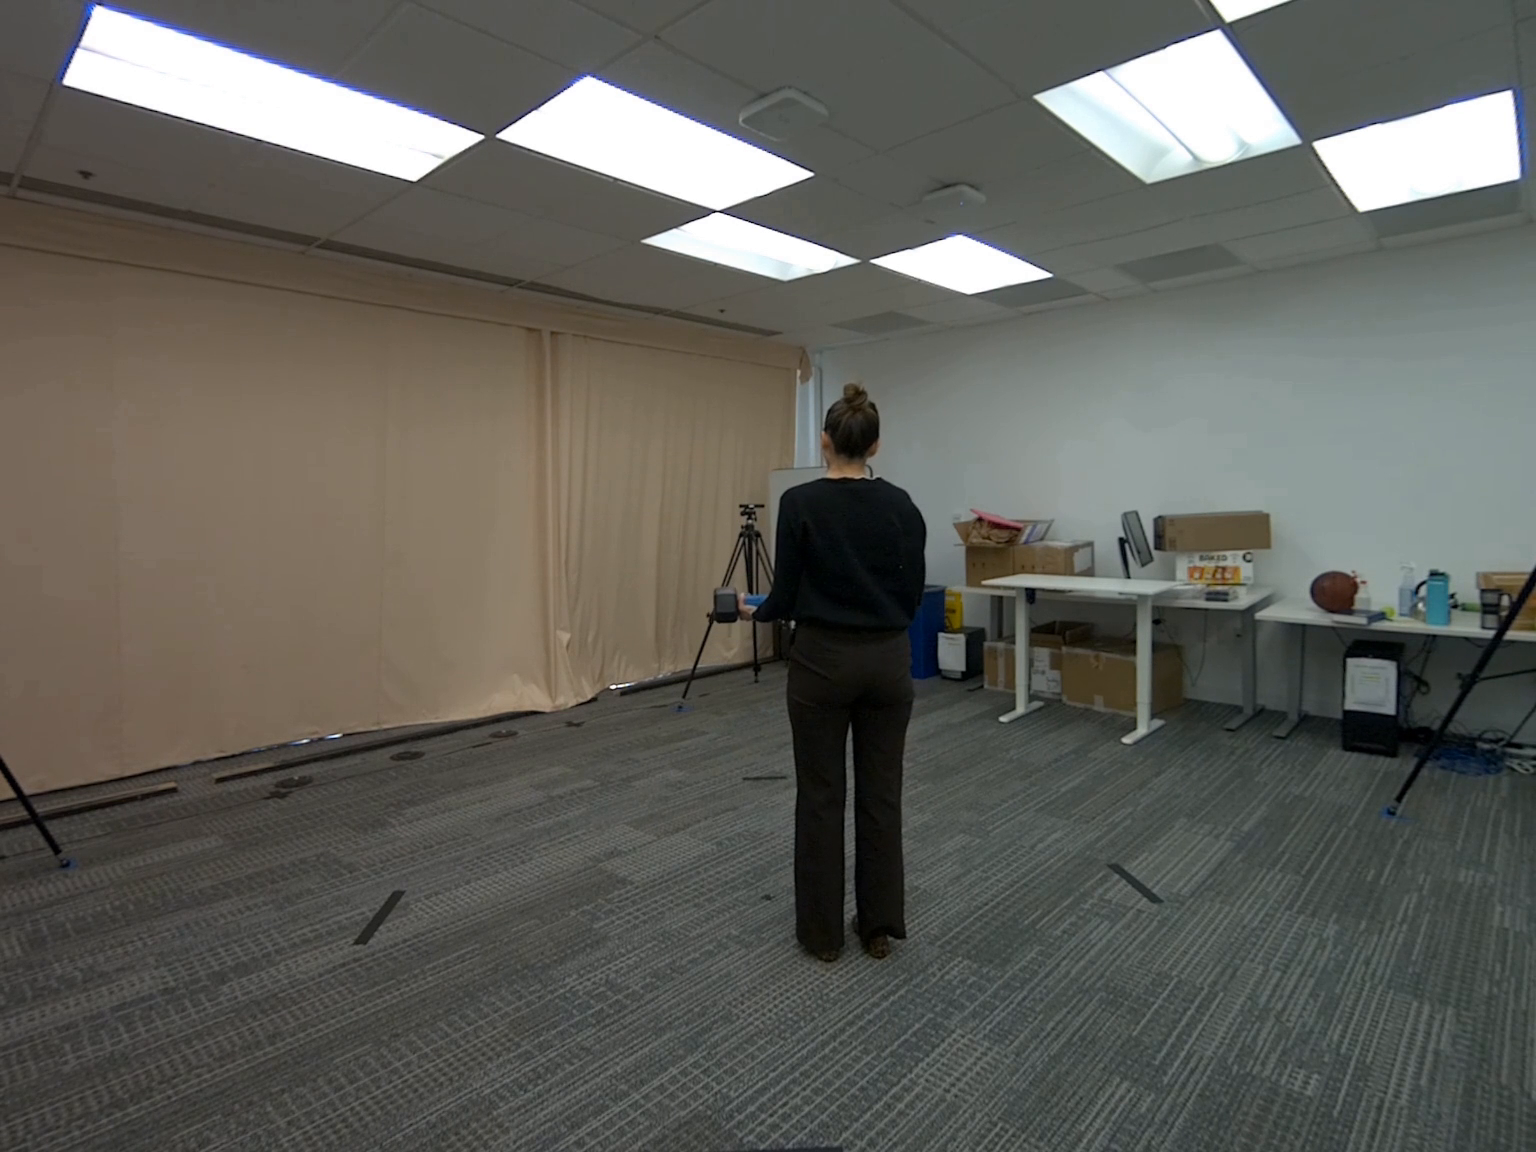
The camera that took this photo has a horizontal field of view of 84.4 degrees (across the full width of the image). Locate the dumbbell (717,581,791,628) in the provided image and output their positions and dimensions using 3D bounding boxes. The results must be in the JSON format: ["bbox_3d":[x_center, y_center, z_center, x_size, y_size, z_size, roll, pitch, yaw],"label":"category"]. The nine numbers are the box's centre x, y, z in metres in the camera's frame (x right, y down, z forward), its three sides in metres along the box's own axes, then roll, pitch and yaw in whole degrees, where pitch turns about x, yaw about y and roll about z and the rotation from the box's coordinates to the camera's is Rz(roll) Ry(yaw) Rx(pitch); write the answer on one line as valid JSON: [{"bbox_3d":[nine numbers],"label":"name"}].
[{"bbox_3d":[-0.021,0.091,2.833,0.294,0.107,0.124,-1,21,2],"label":"dumbbell"}]
